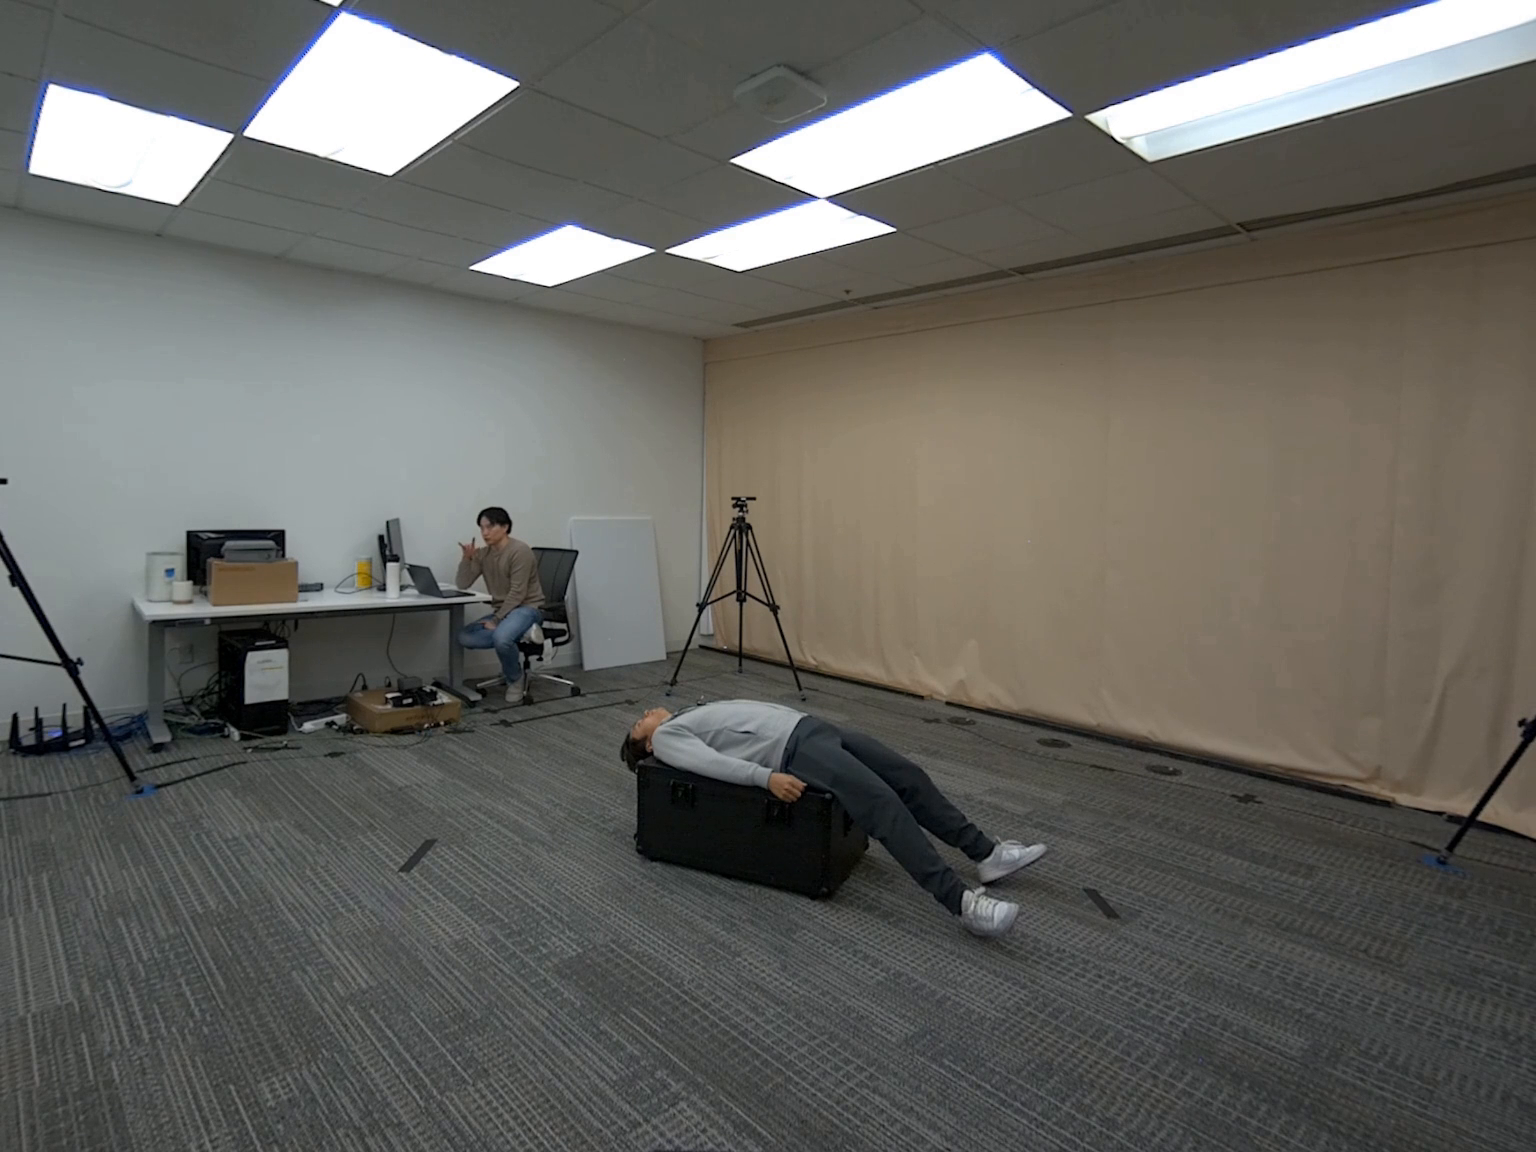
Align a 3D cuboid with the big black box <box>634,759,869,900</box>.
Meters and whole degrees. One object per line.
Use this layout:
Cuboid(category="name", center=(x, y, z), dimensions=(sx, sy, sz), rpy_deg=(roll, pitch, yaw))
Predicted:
Cuboid(category="big black box", center=(-0.031, 0.913, 3.251), dimensions=(0.878, 0.395, 0.512), rpy_deg=(3, 5, 26))
